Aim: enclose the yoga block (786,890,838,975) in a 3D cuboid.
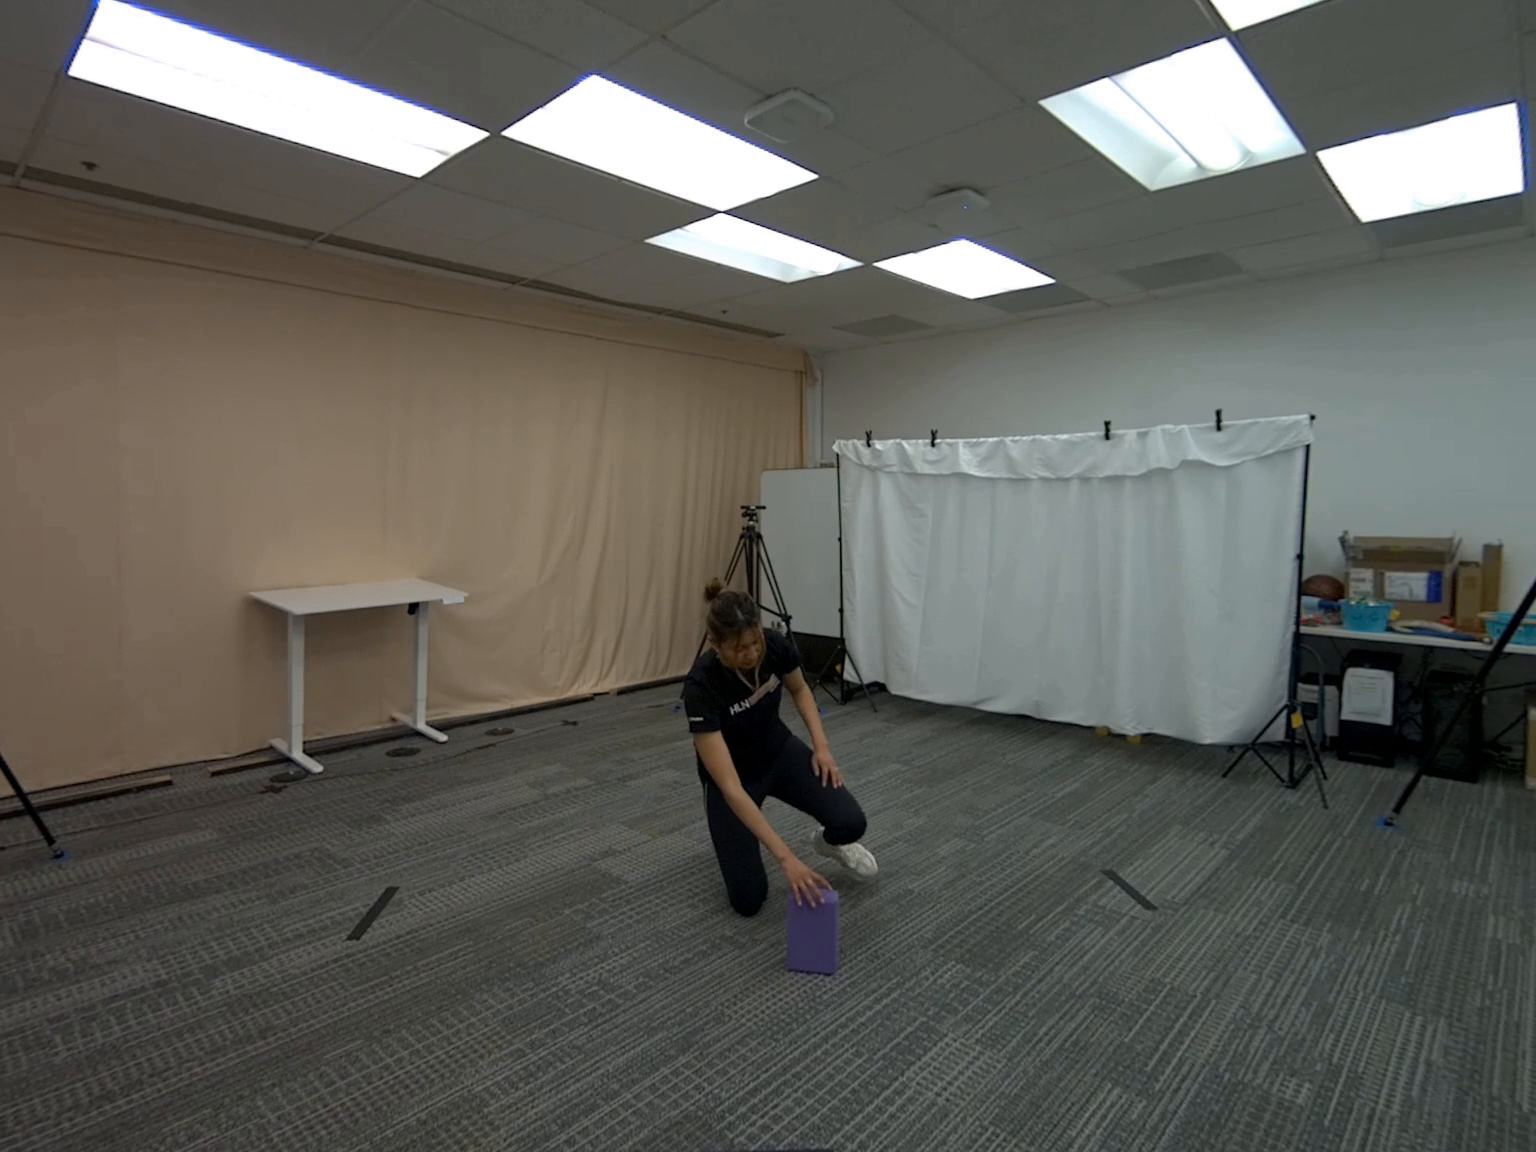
[{"bbox_3d":[0.139,1.070,2.531,0.150,0.229,0.076,1,3,7],"label":"yoga block"}]
